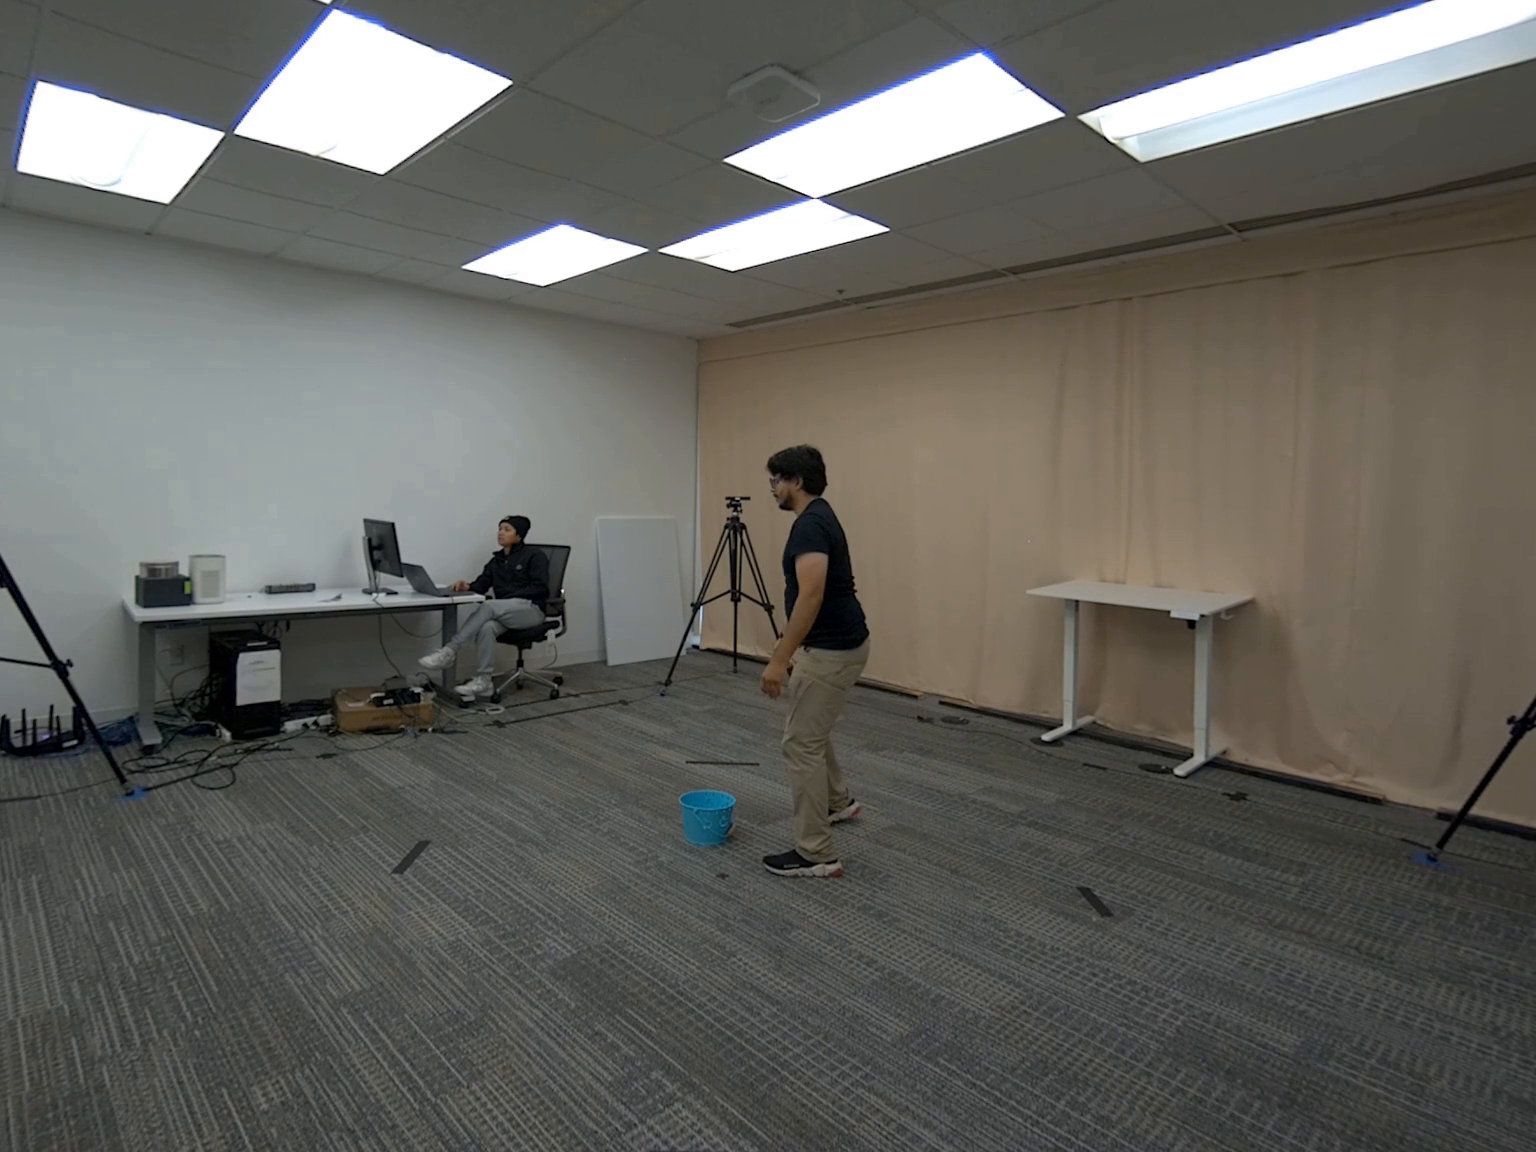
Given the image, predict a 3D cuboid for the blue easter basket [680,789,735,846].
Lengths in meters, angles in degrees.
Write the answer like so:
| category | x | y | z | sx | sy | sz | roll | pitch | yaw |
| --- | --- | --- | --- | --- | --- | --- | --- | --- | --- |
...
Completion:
| category | x | y | z | sx | sy | sz | roll | pitch | yaw |
| --- | --- | --- | --- | --- | --- | --- | --- | --- | --- |
| blue easter basket | -0.260 | 0.997 | 3.467 | 0.243 | 0.155 | 0.244 | 2 | 4 | -1 |
